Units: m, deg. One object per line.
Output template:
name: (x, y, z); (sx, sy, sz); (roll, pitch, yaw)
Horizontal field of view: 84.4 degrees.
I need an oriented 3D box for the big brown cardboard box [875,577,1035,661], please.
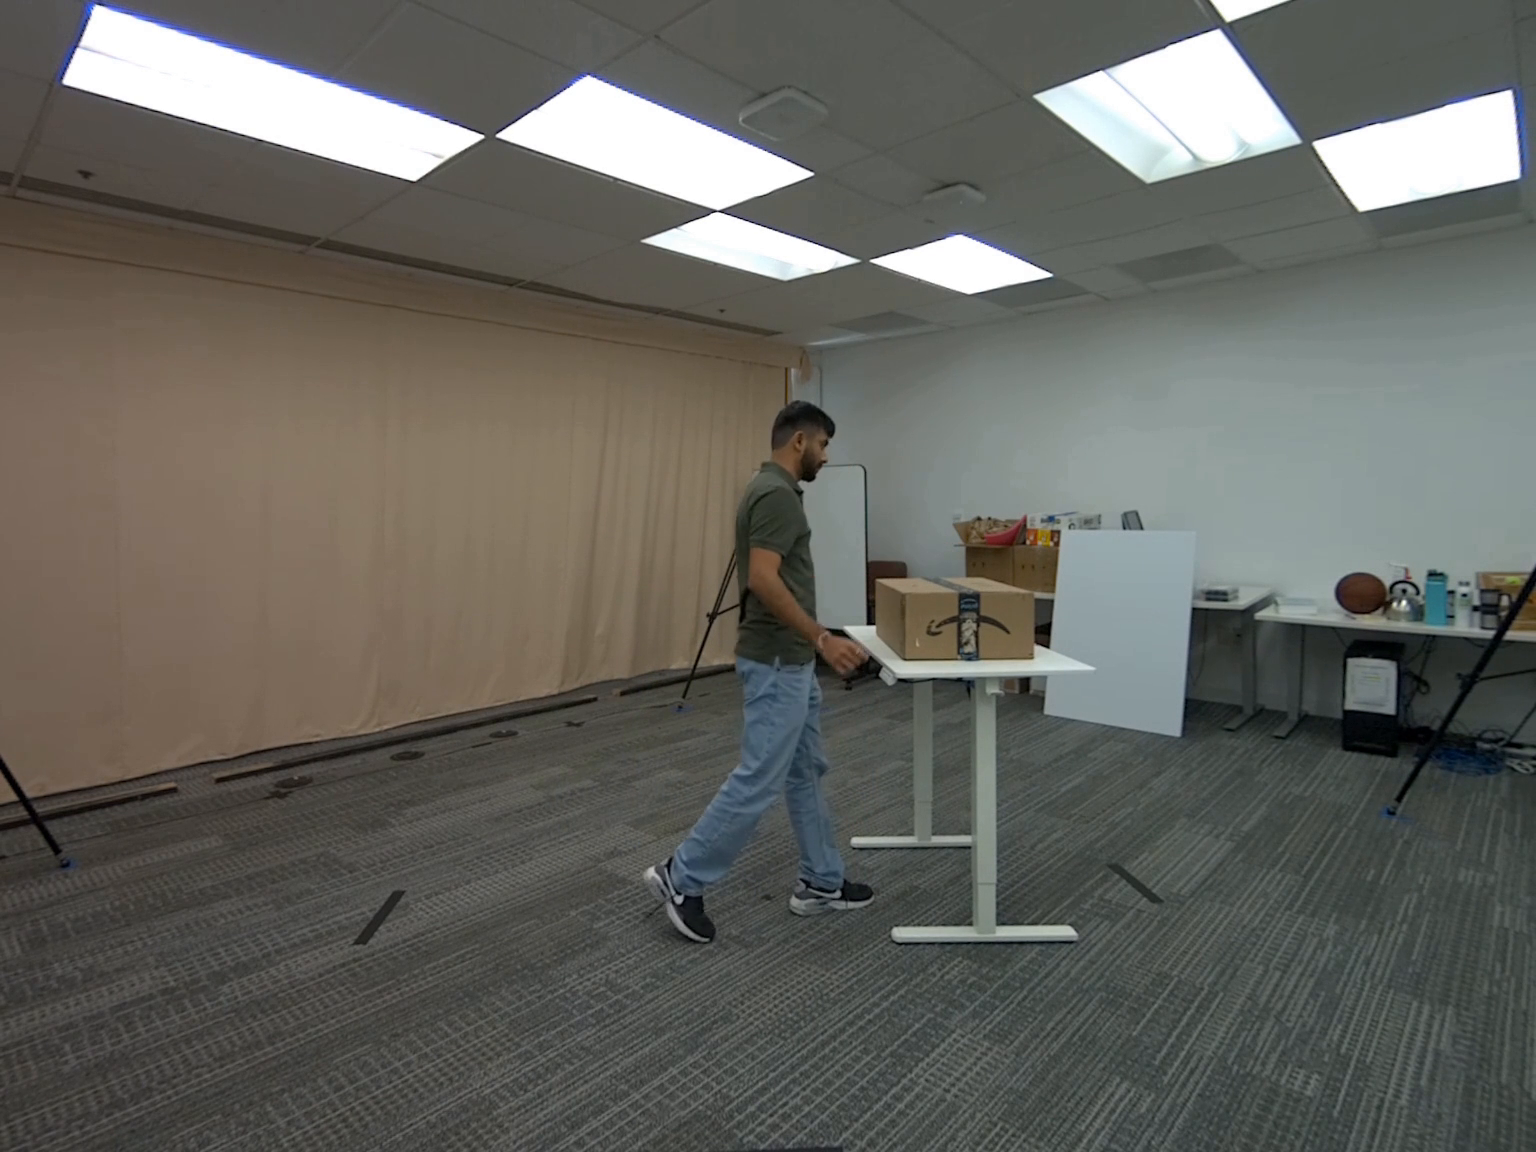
big brown cardboard box: (0.636, 0.142, 2.955); (0.418, 0.232, 0.590); (0, 5, -1)
